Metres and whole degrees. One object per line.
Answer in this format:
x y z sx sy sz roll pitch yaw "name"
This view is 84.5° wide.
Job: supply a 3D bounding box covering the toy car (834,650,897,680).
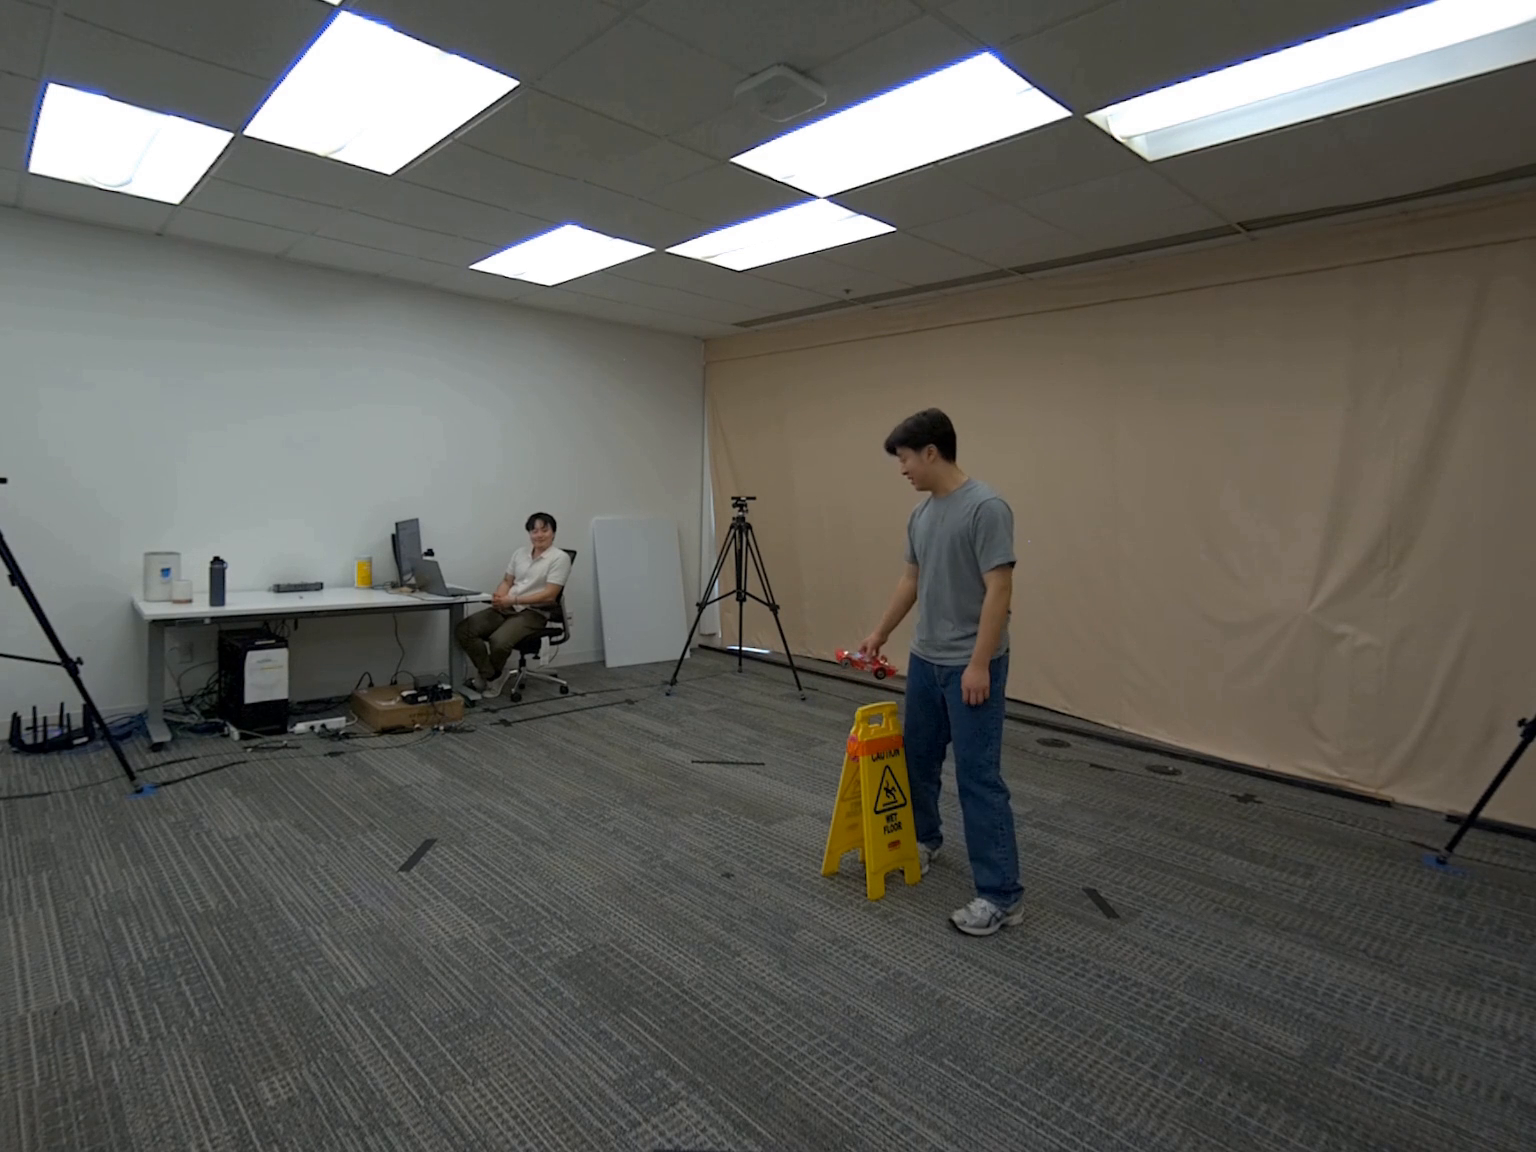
0.405 0.354 3.352 0.254 0.083 0.131 7 8 -2 "toy car"
